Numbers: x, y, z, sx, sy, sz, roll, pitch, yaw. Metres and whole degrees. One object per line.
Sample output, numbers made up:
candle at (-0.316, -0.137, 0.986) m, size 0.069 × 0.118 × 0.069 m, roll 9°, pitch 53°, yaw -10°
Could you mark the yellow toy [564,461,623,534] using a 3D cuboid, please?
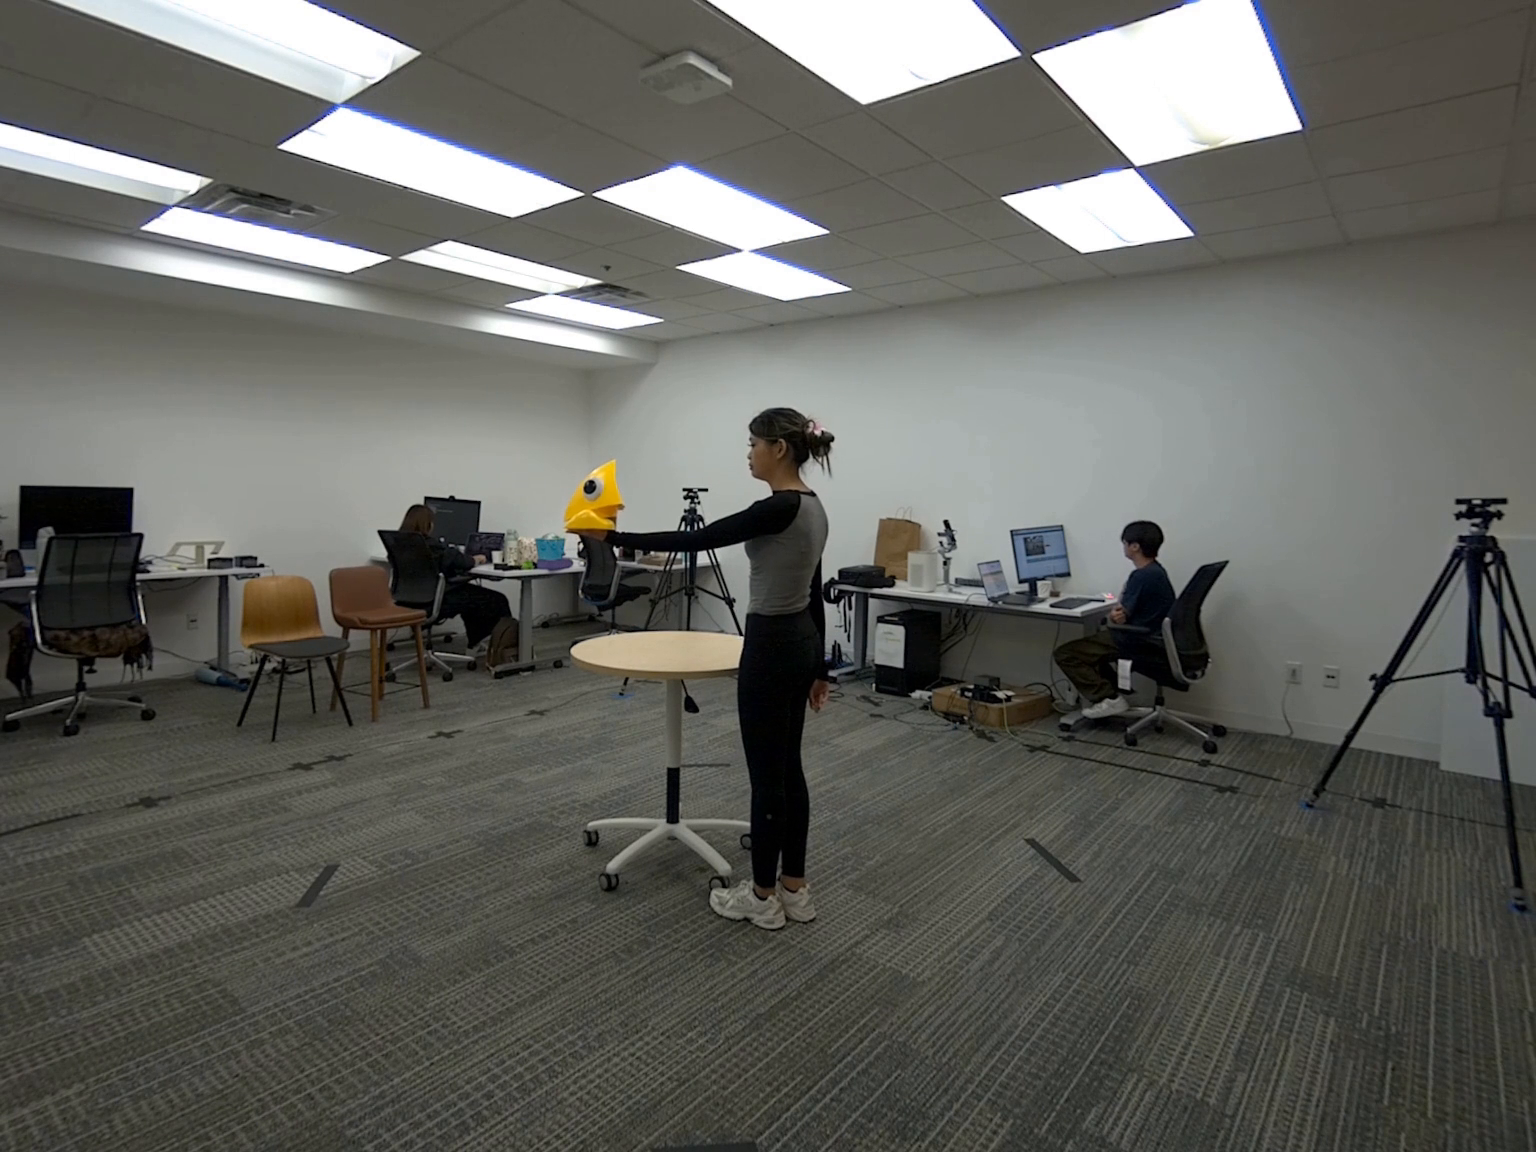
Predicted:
yellow toy at (-0.563, -0.259, 2.716) m, size 0.192 × 0.231 × 0.206 m, roll 2°, pitch -3°, yaw -7°
